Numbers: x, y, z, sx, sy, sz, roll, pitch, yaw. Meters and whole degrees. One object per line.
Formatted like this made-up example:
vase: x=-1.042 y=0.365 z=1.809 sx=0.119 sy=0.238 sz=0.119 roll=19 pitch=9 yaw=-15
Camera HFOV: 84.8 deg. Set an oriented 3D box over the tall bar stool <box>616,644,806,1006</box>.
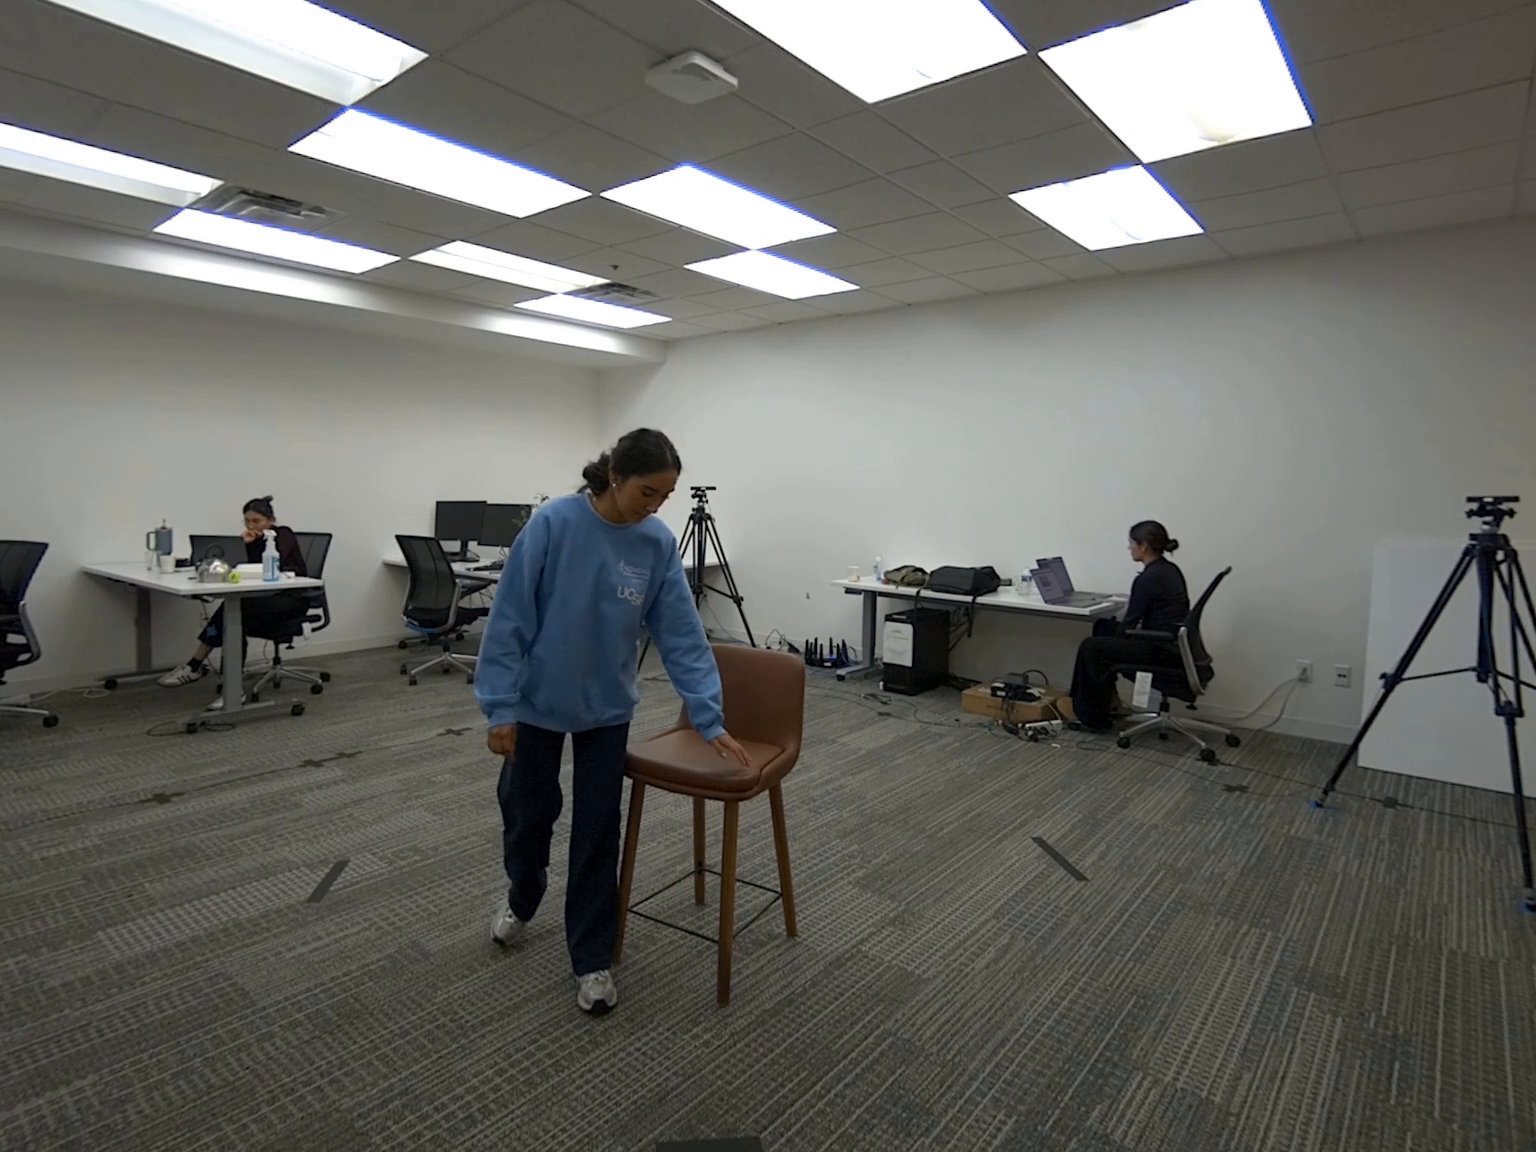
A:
tall bar stool: x=-0.175 y=0.685 z=2.547 sx=0.470 sy=0.888 sz=0.454 roll=3 pitch=3 yaw=31
